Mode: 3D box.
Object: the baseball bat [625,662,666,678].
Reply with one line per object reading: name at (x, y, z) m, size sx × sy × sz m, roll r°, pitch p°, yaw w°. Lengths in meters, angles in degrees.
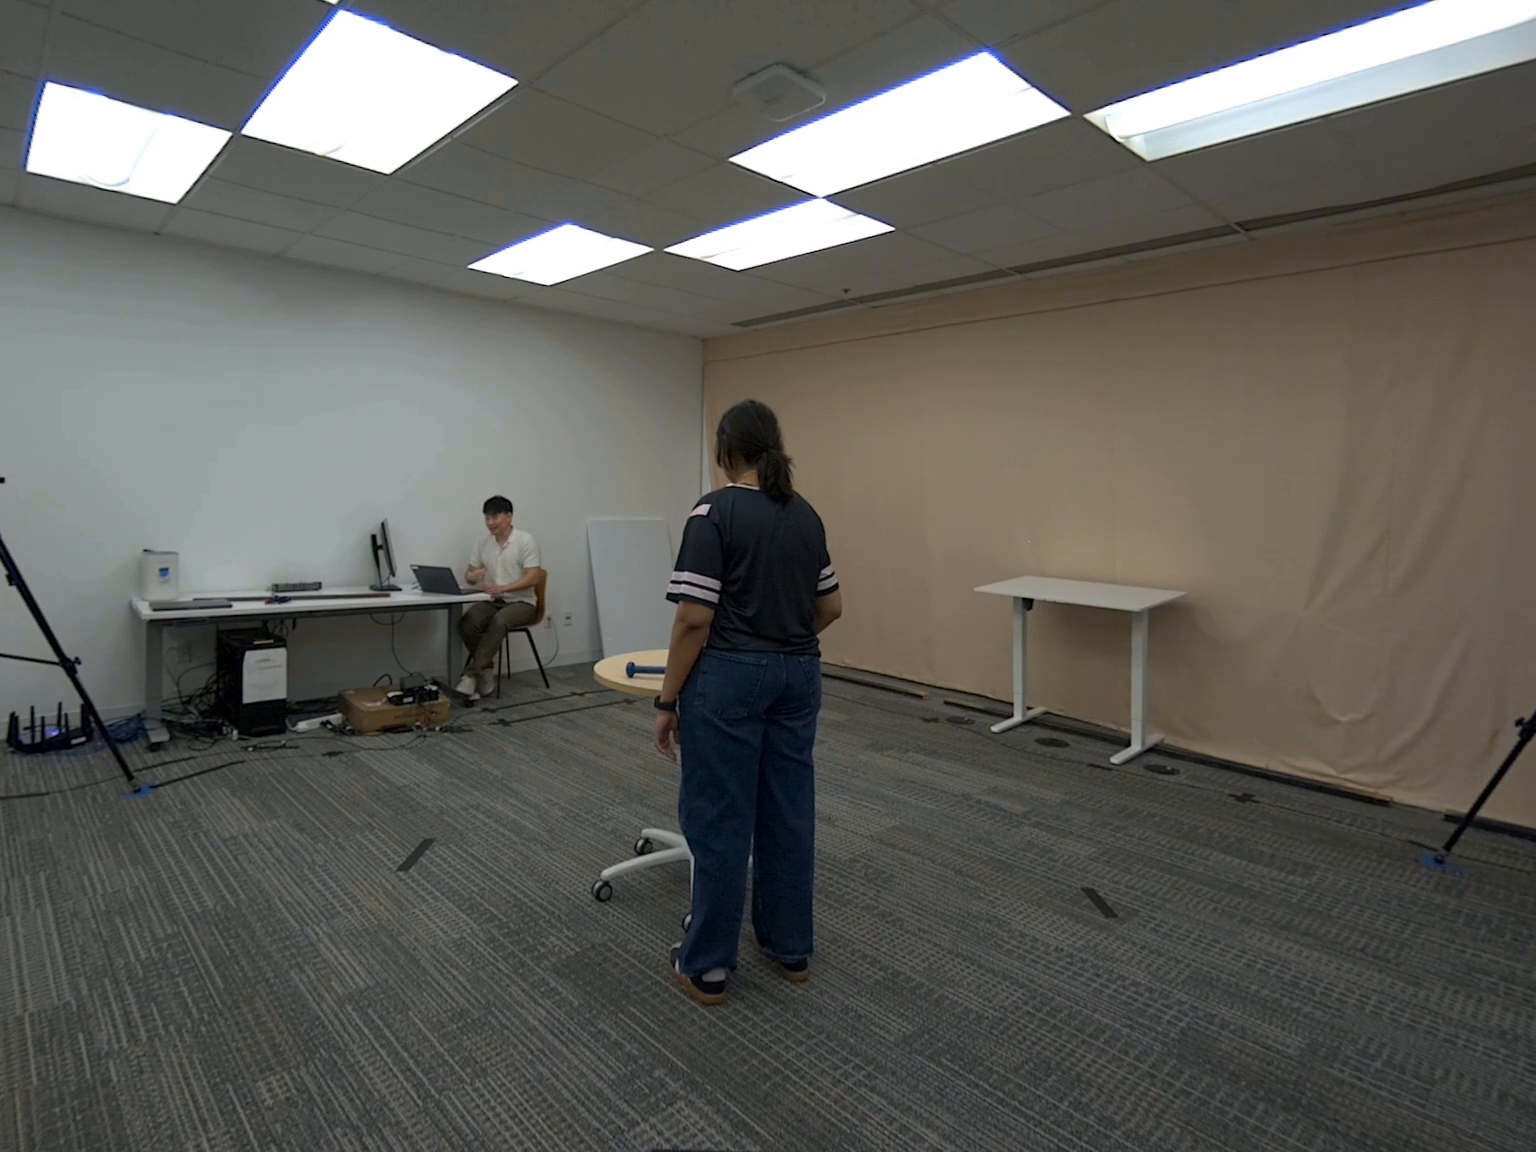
baseball bat at (-0.198, 0.318, 2.755) m, size 0.545 × 0.089 × 0.089 m, roll -1°, pitch 4°, yaw 5°
